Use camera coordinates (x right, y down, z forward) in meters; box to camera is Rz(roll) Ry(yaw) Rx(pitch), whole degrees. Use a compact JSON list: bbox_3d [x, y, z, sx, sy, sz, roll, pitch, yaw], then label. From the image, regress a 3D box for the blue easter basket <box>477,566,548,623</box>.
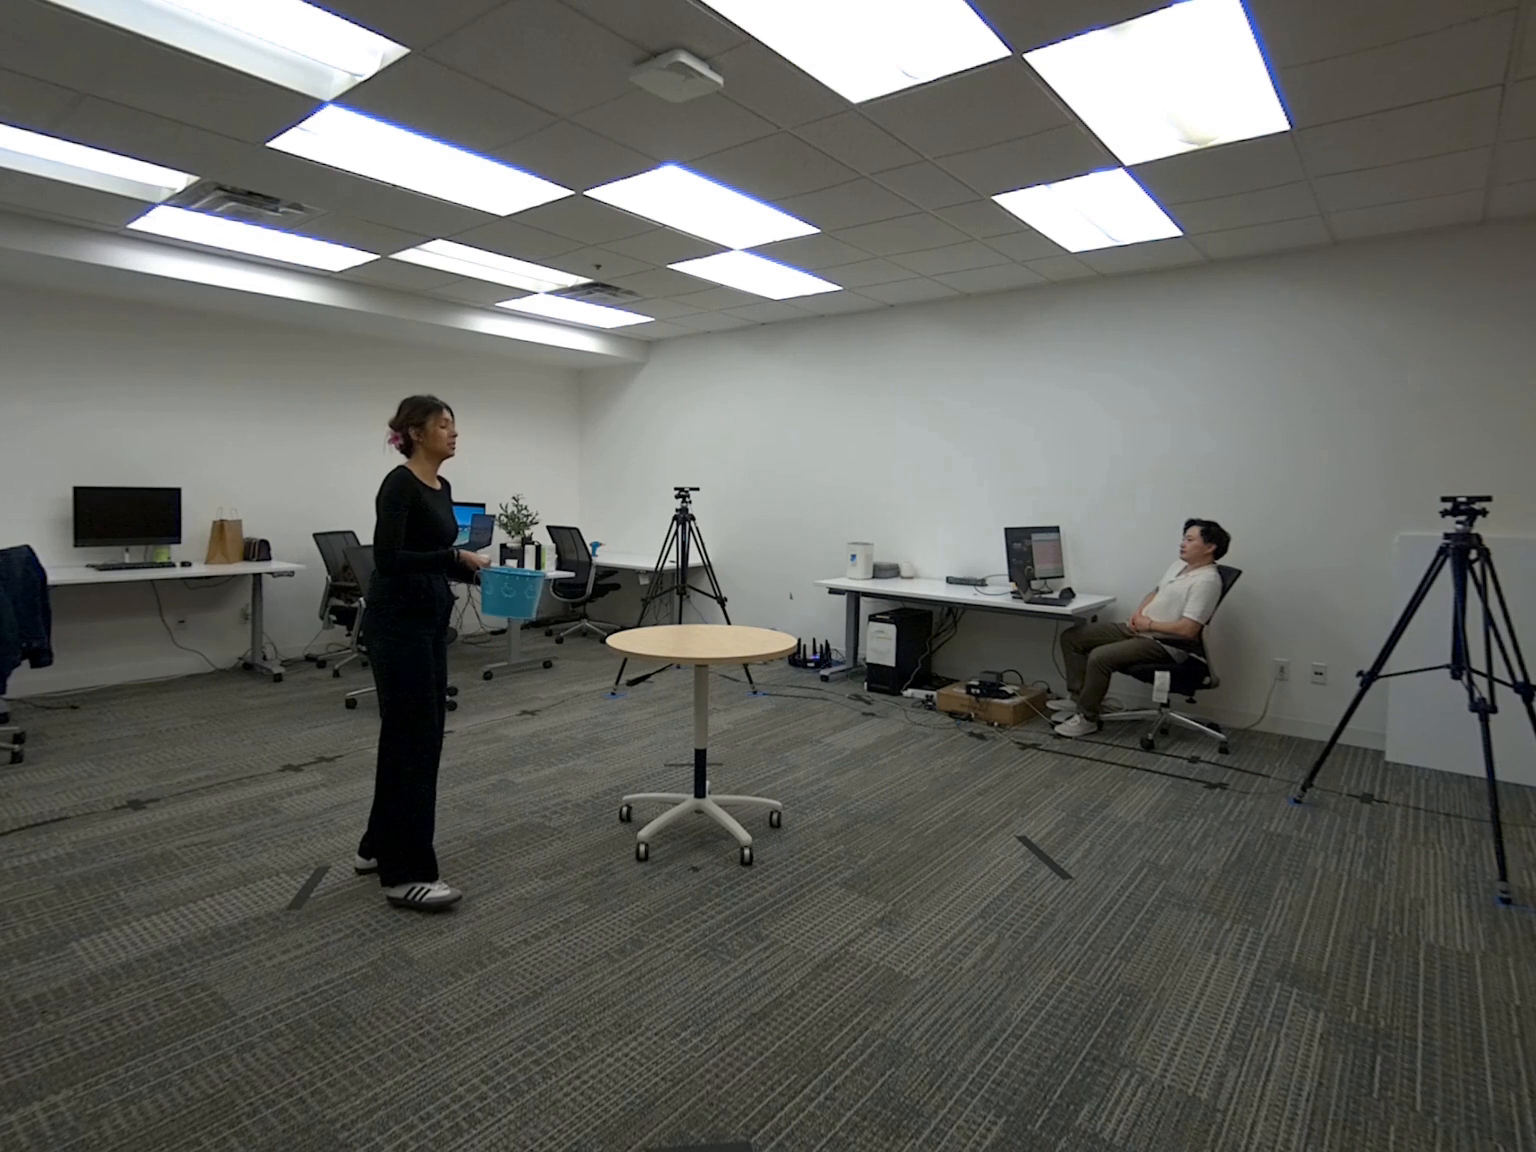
[{"bbox_3d":[-0.901,0.060,2.890,0.243,0.155,0.244,6,3,-2],"label":"blue easter basket"}]
